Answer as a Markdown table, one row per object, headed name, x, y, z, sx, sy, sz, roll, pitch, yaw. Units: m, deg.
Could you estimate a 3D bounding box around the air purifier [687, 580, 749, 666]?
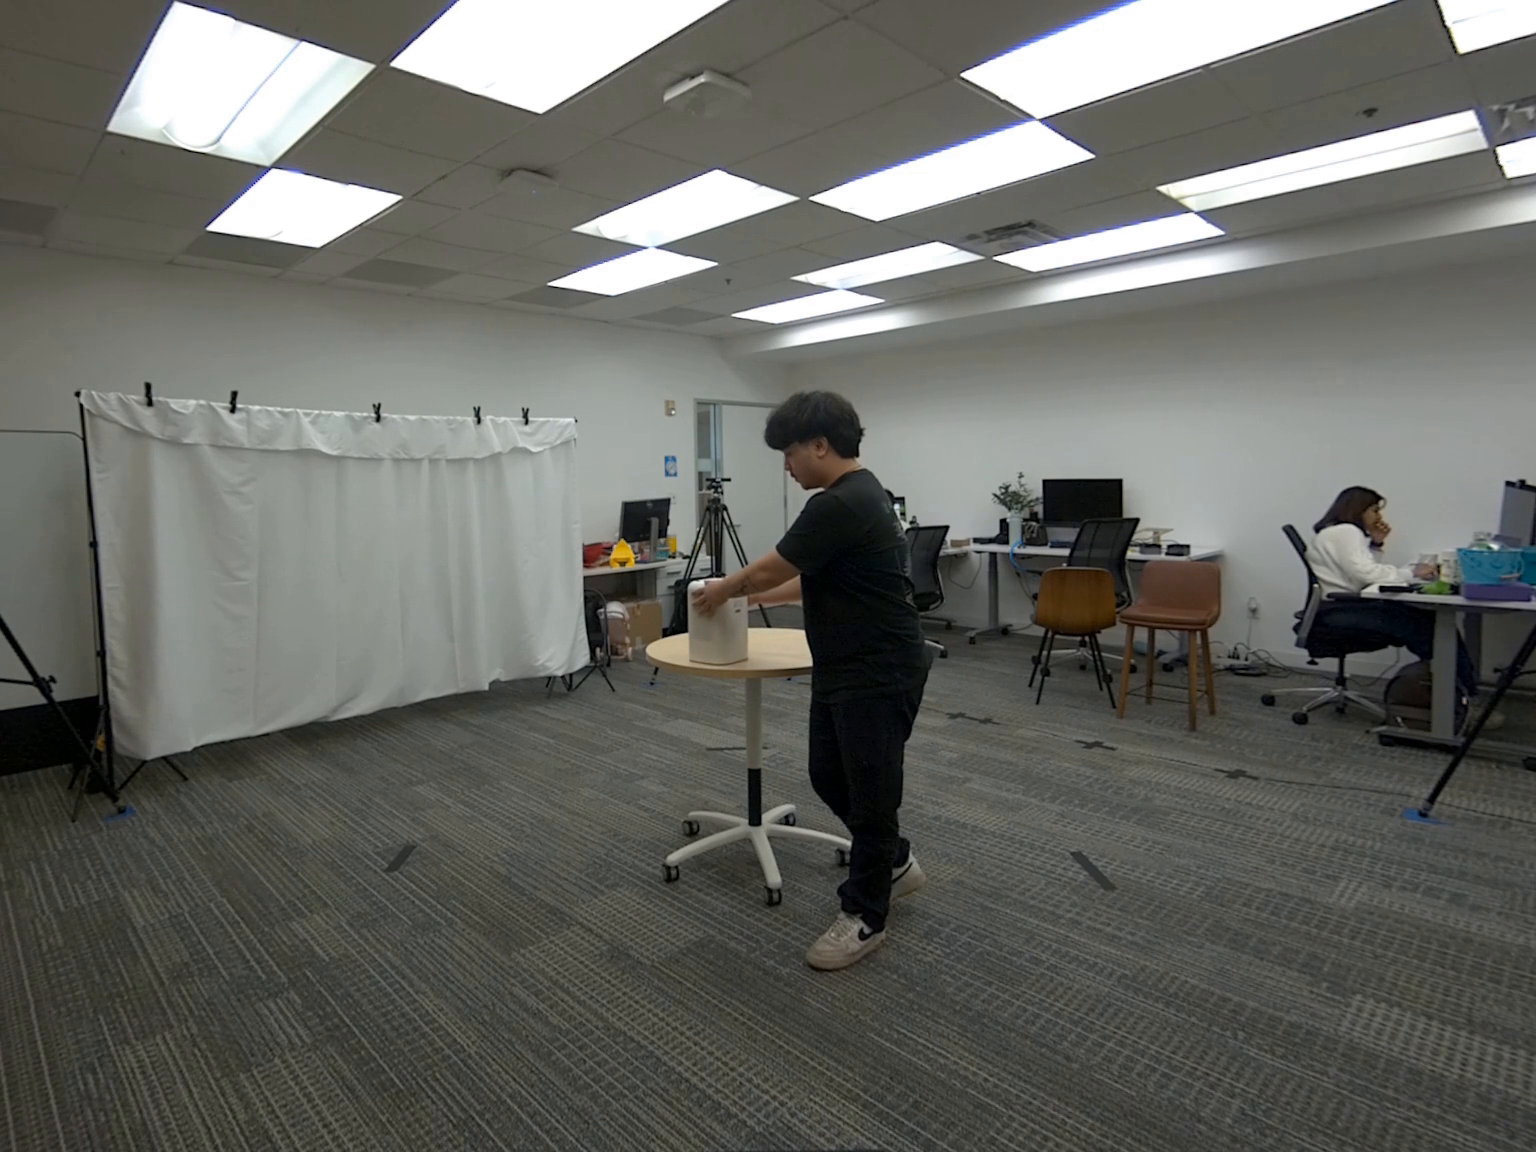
| name | x | y | z | sx | sy | sz | roll | pitch | yaw |
| --- | --- | --- | --- | --- | --- | --- | --- | --- | --- |
| air purifier | -0.163 | 0.146 | 2.849 | 0.176 | 0.264 | 0.167 | 2 | 5 | 38 |
